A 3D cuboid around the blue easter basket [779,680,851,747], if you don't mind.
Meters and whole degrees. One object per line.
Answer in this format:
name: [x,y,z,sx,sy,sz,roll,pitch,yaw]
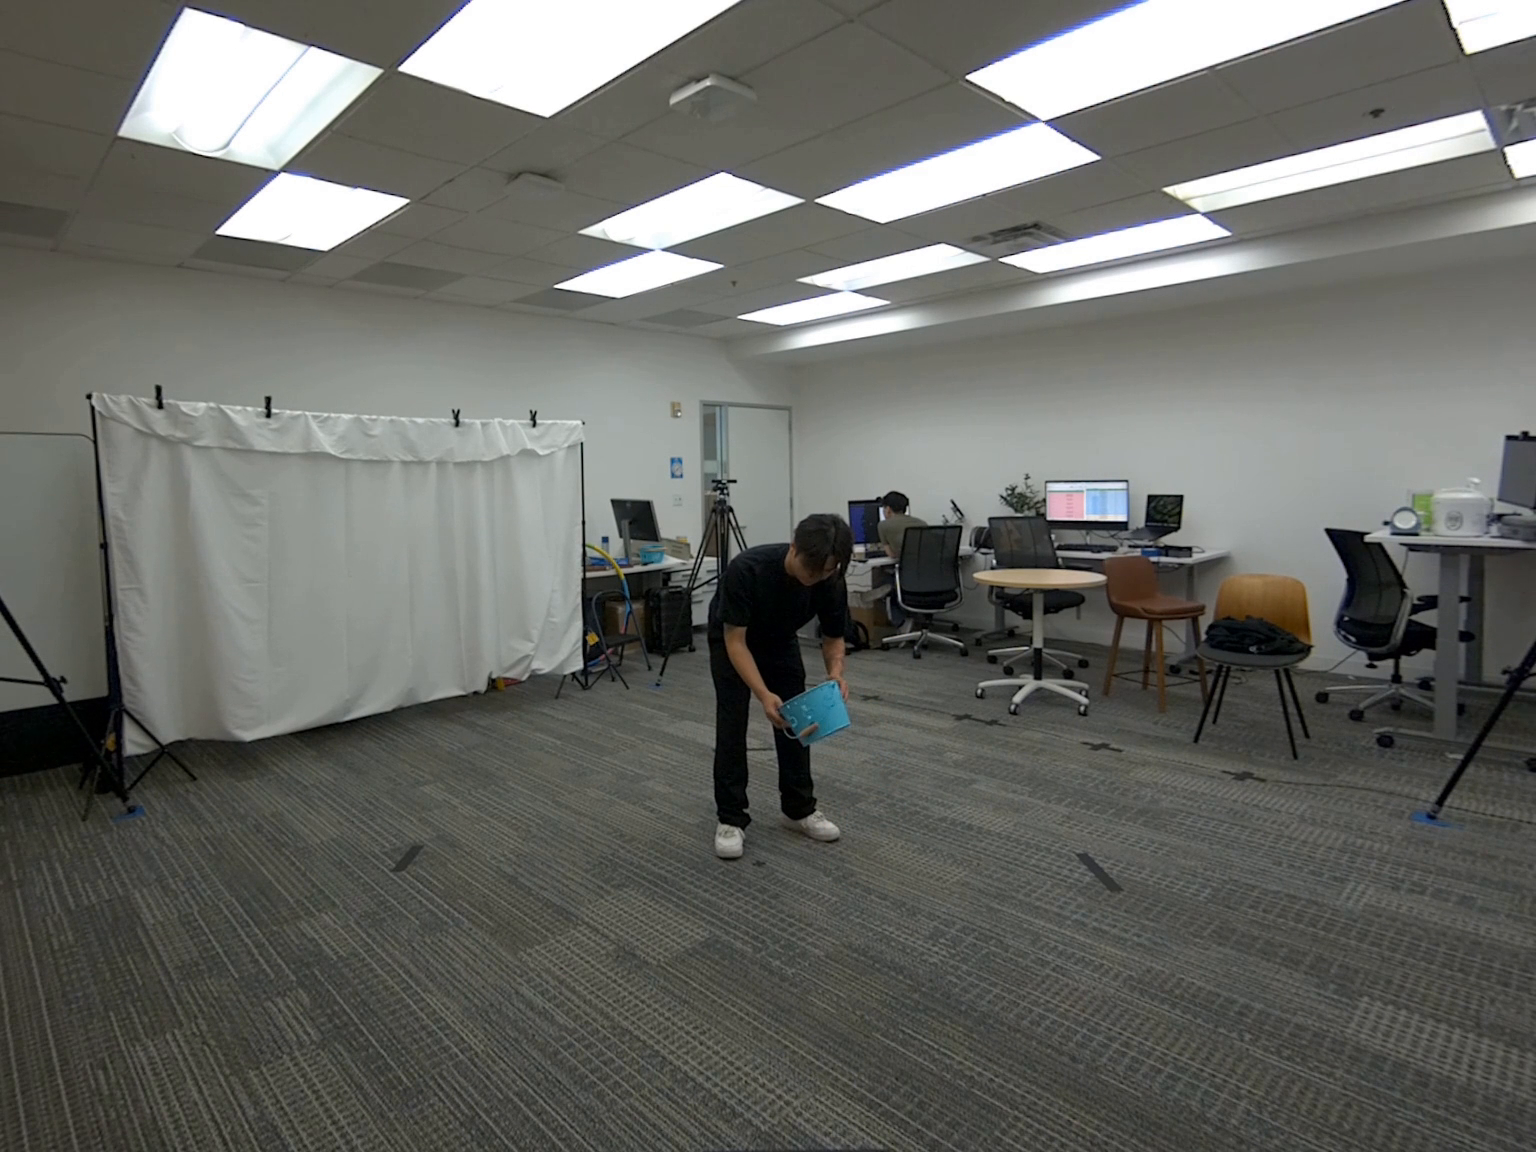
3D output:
blue easter basket: [0.153,0.474,2.914,0.242,0.159,0.240,-23,-15,-8]
